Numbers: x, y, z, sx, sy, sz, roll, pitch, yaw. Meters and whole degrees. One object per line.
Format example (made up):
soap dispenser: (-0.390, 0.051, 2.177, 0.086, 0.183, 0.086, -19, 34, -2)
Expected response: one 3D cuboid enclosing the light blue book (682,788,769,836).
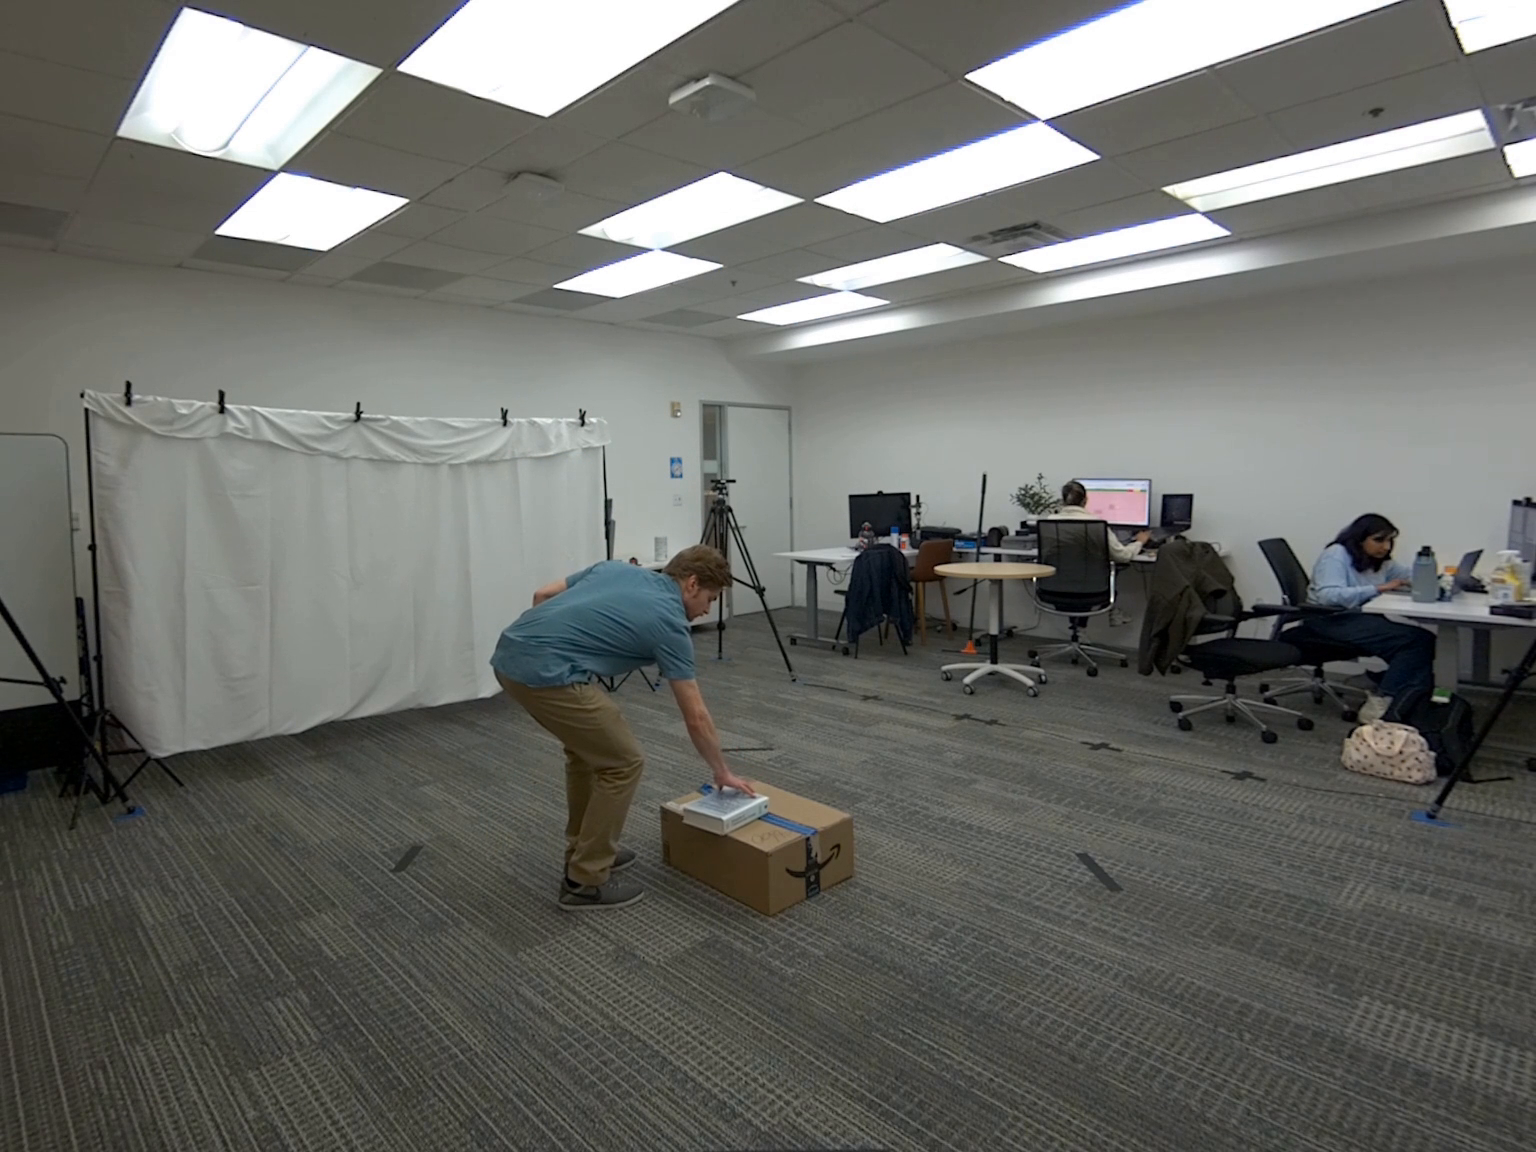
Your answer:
light blue book: (-0.144, 0.819, 2.999, 0.197, 0.059, 0.254, 4, 7, 37)
